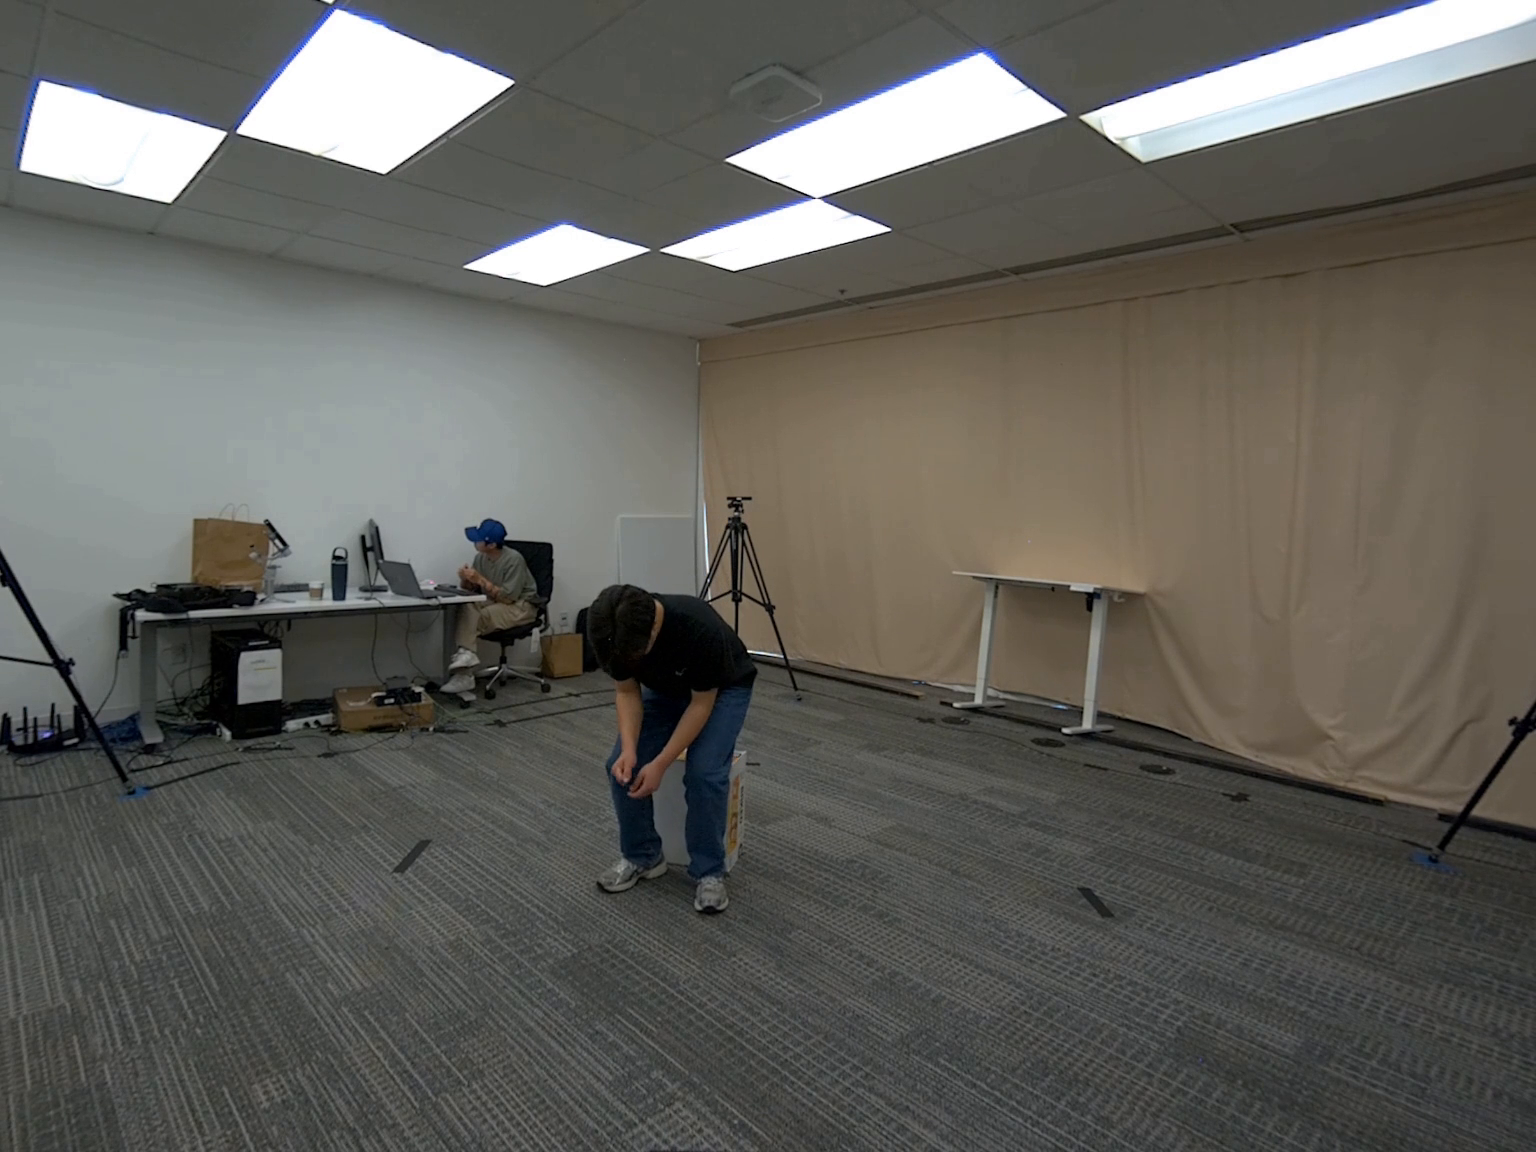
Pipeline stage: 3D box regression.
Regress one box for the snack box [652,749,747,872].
[{"bbox_3d":[-0.282,0.889,3.258,0.345,0.404,0.203,3,3,16],"label":"snack box"}]
